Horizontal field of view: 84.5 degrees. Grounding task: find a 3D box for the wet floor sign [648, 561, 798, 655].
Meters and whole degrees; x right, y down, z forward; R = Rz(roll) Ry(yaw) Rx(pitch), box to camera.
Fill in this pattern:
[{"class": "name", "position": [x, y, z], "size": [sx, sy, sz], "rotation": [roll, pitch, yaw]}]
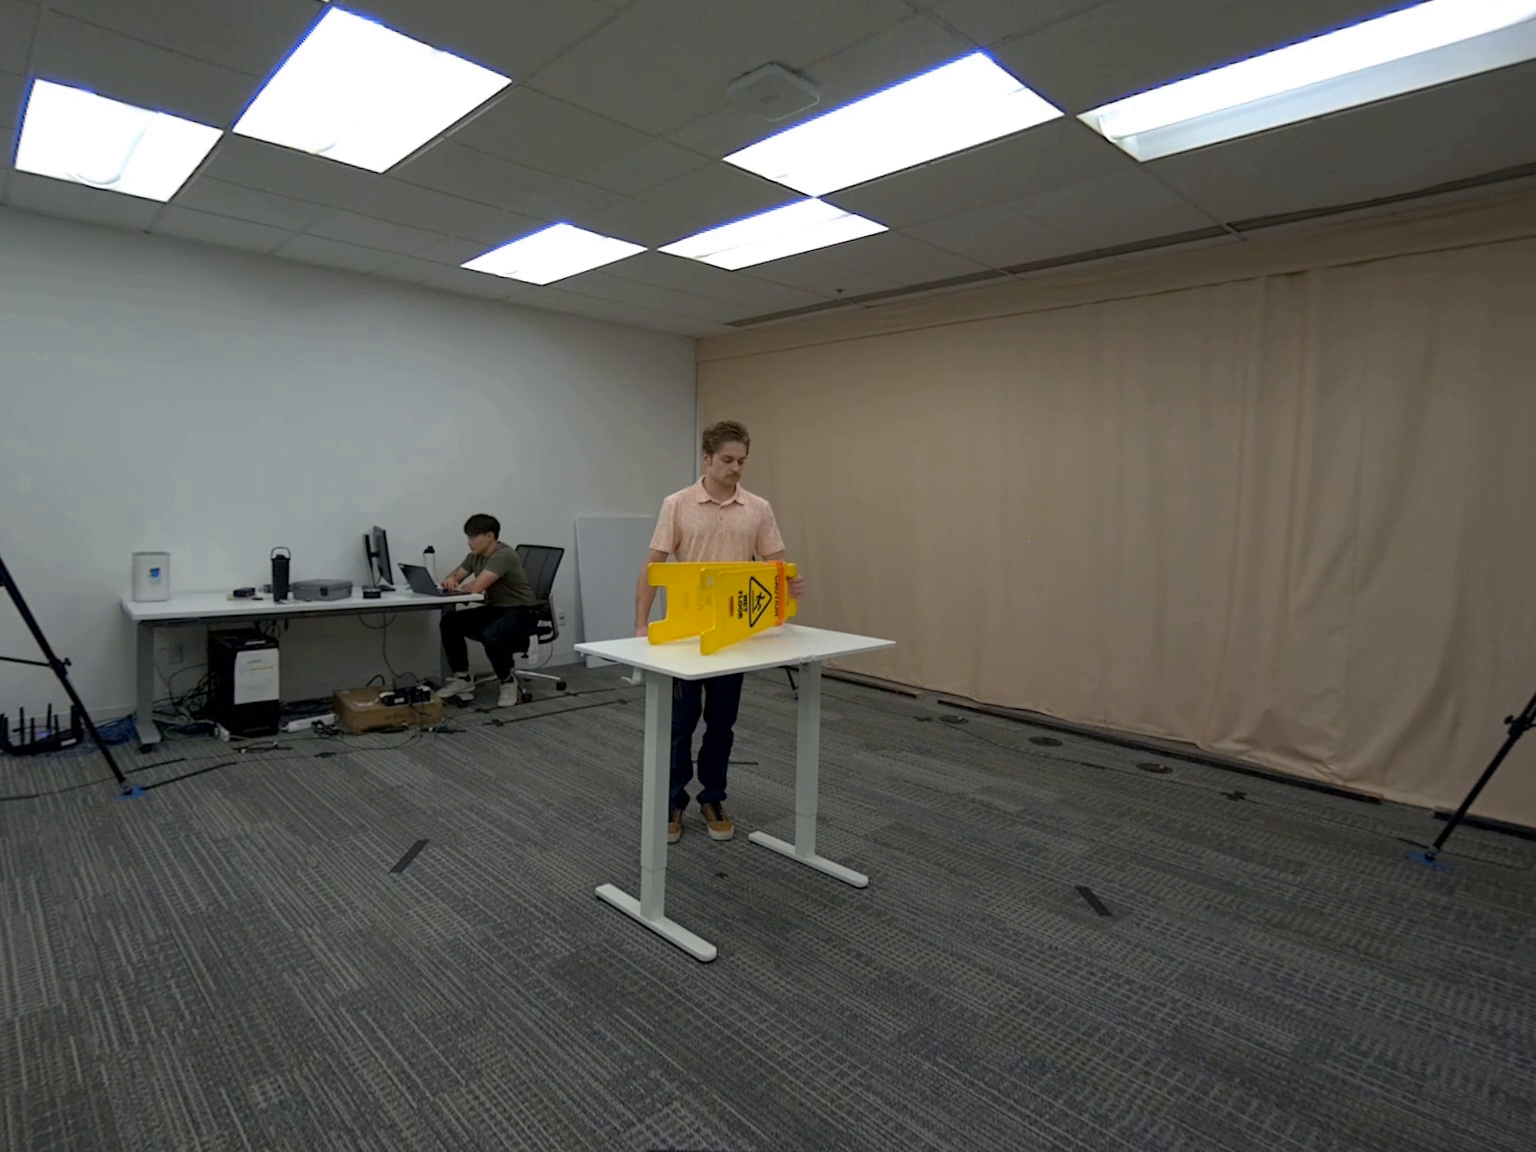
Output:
[{"class": "wet floor sign", "position": [-0.108, 0.083, 2.989], "size": [0.297, 0.281, 0.632], "rotation": [5, 8, 41]}]
